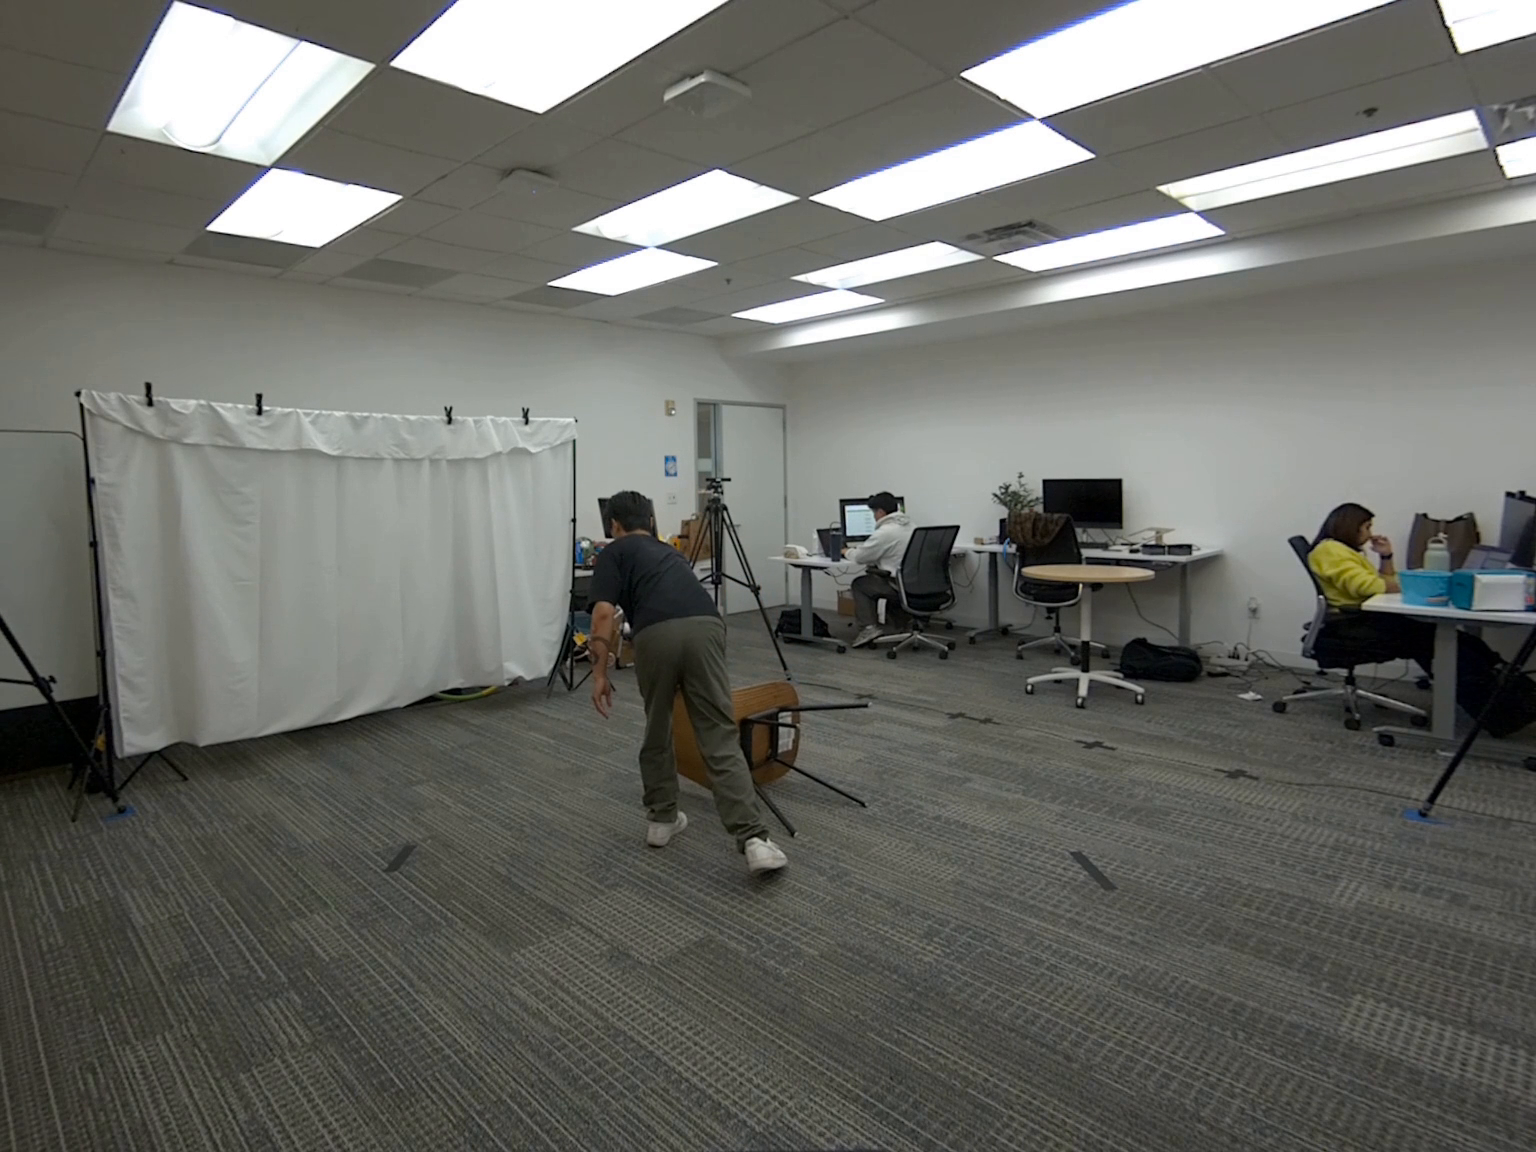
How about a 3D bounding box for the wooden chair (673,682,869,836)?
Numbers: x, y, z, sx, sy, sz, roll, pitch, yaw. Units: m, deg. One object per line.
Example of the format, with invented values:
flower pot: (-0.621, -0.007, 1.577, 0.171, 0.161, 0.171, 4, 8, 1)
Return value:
wooden chair: (-0.030, 0.726, 3.768, 0.905, 0.475, 0.510, 6, 10, 42)
